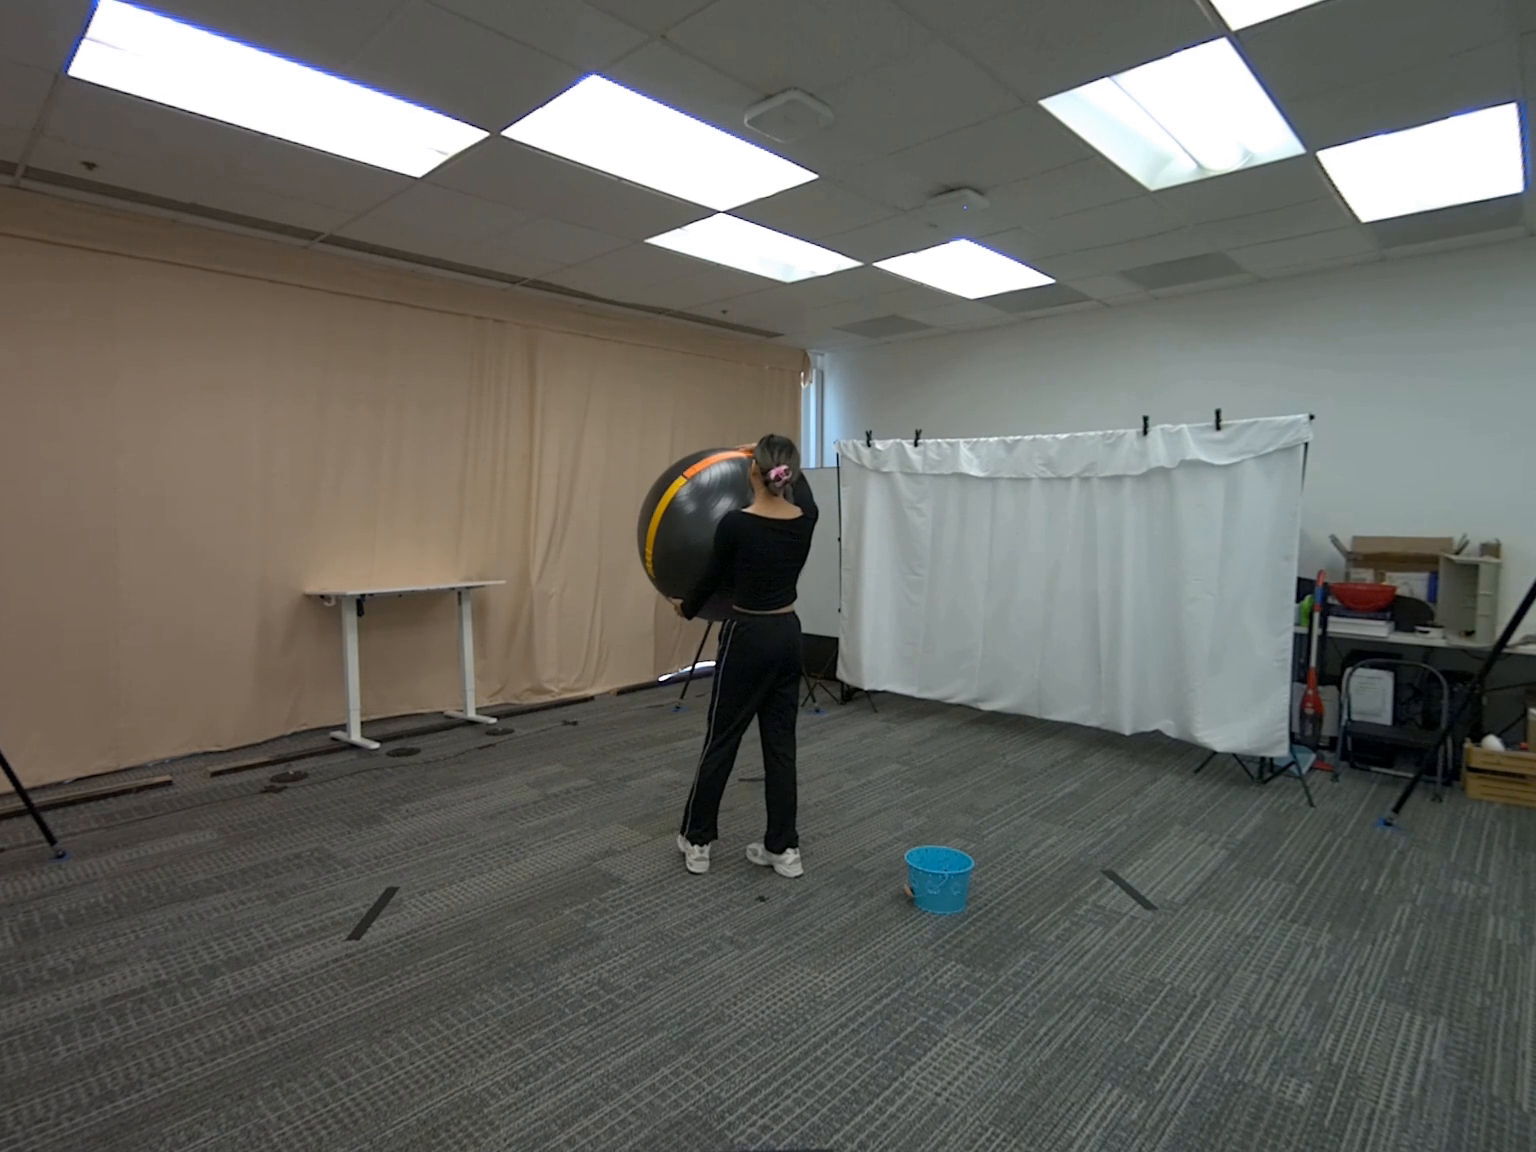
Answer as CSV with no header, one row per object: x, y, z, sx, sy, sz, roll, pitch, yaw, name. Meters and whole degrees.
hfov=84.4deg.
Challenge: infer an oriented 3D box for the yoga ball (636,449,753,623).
-0.188,-0.180,3.683,0.757,0.756,0.760,0,4,-2,yoga ball
